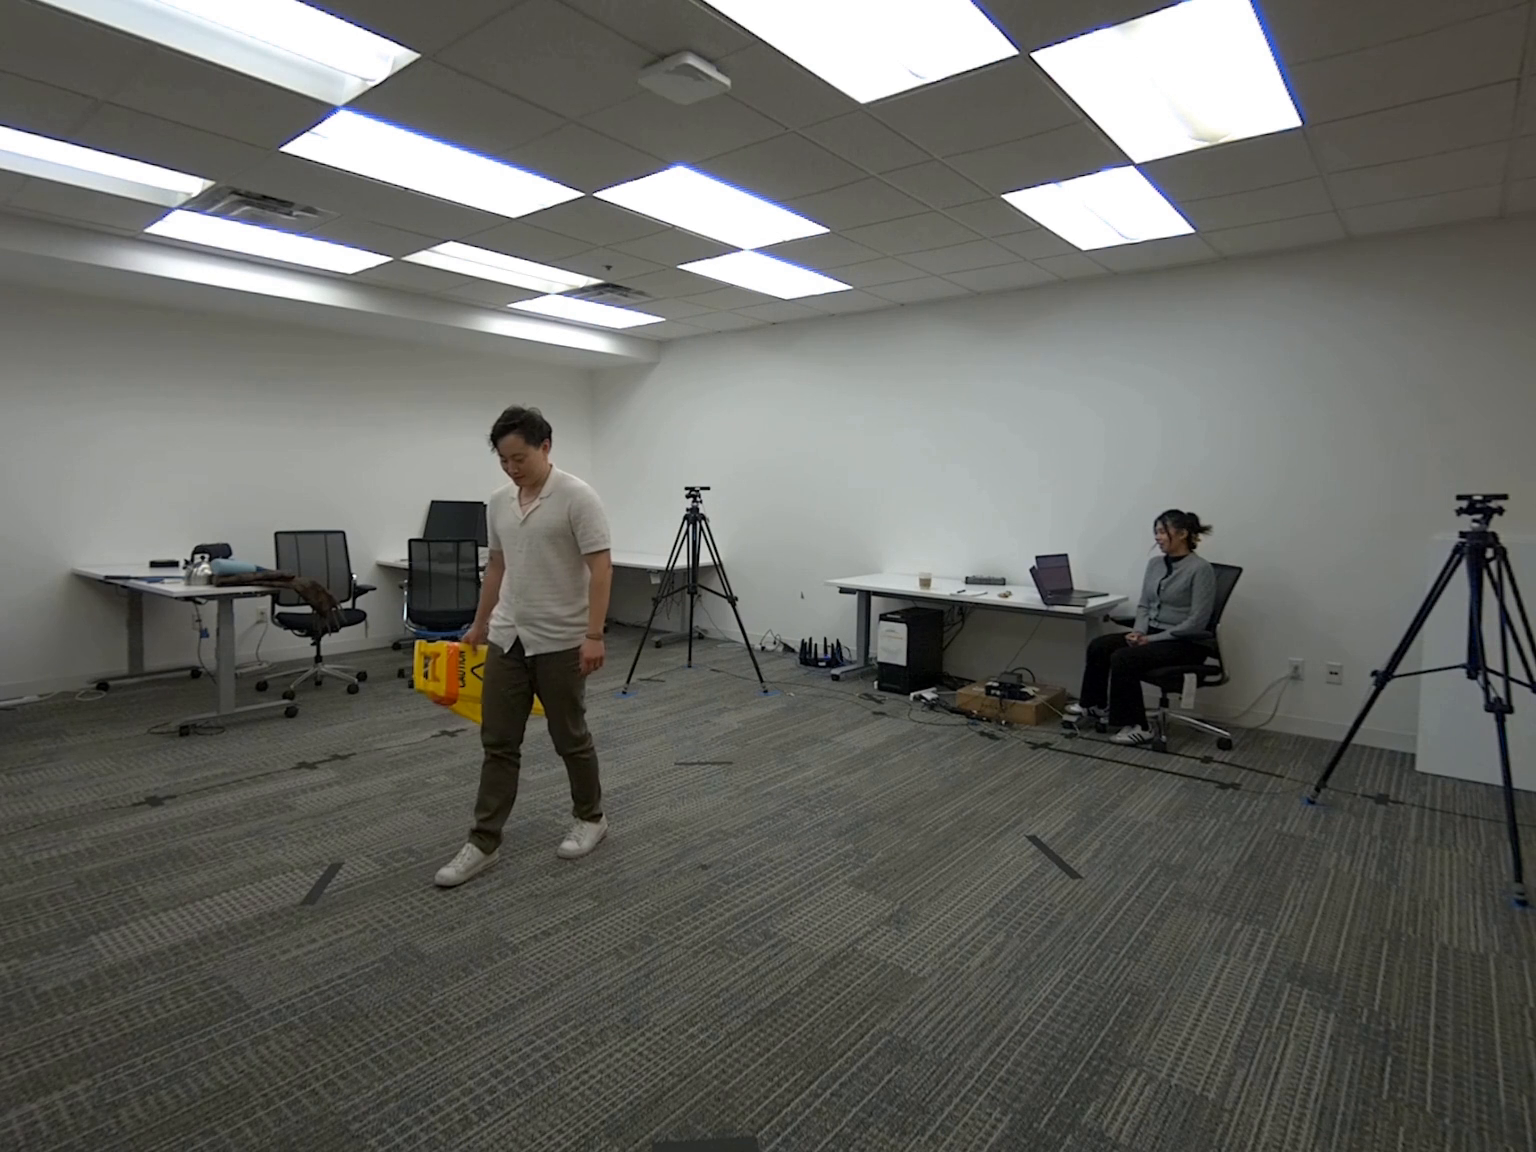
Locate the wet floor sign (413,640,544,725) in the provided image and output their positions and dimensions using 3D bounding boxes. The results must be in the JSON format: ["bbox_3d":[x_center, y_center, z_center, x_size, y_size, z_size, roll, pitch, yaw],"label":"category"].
[{"bbox_3d":[-1.138,0.416,3.351,0.293,0.291,0.619,-26,-32,24],"label":"wet floor sign"}]
